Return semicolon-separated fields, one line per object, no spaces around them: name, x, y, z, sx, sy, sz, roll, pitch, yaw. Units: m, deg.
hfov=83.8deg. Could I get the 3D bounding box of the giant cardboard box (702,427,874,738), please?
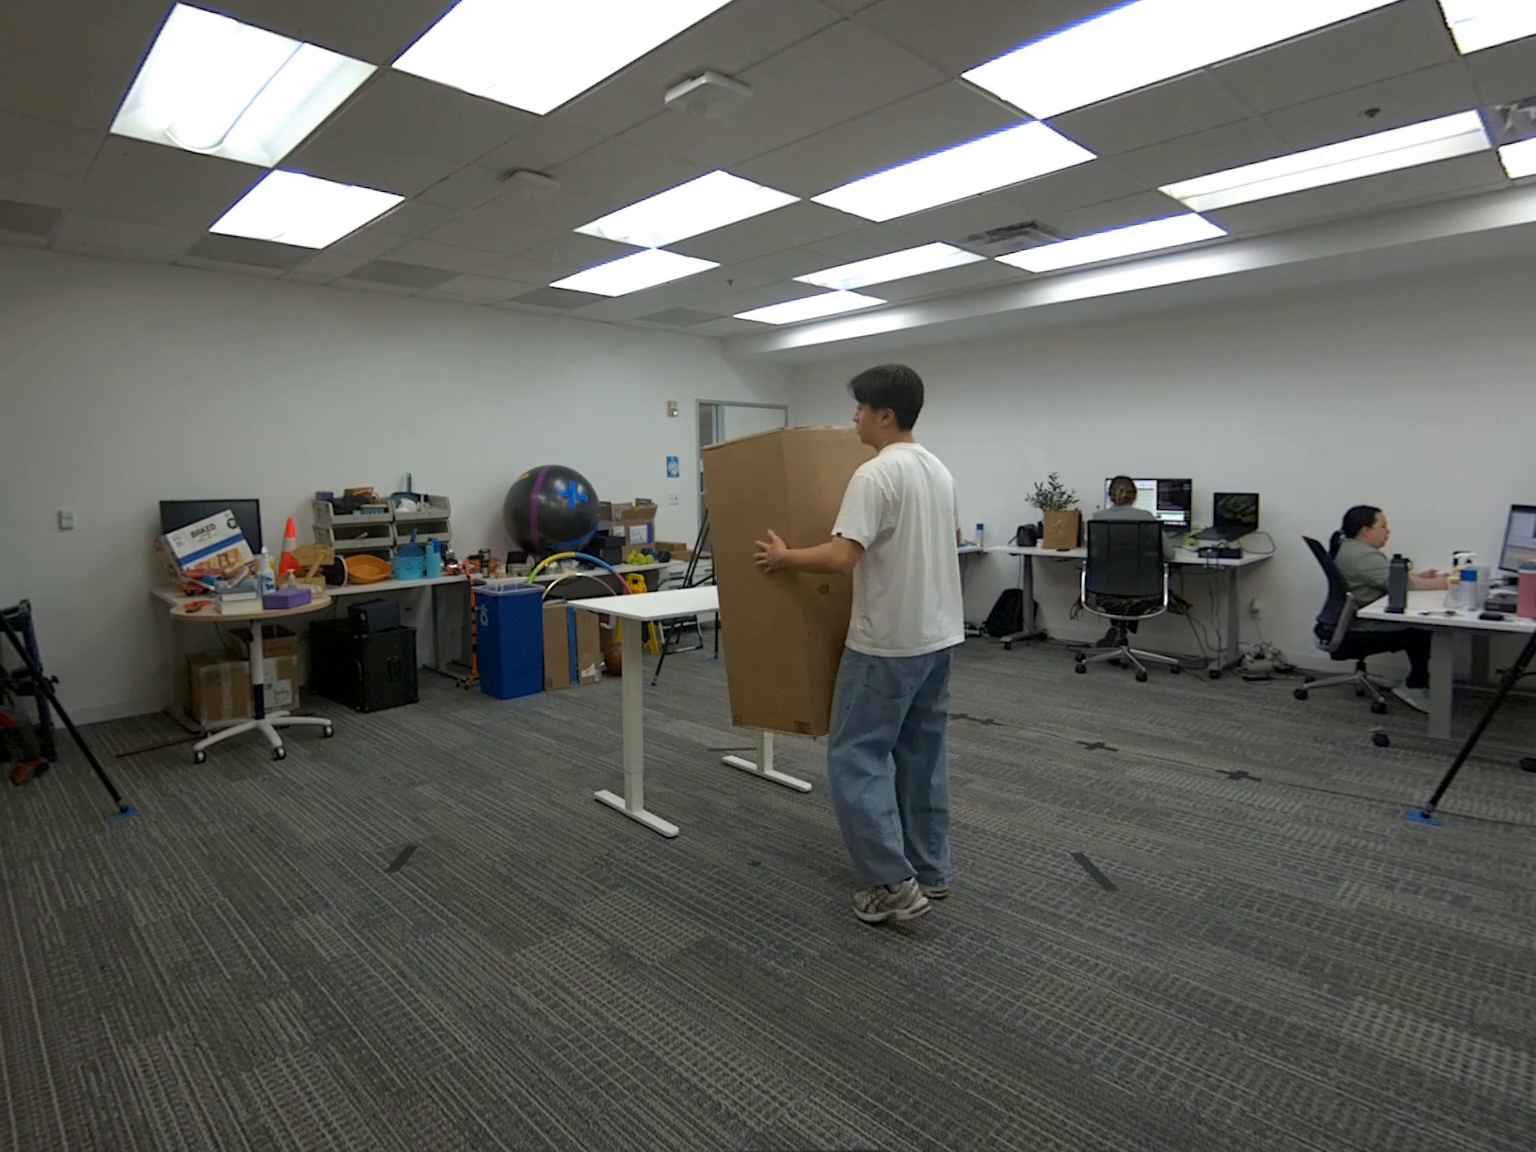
giant cardboard box;0.157;0.003;3.112;0.563;1.026;0.437;-6;0;-41
